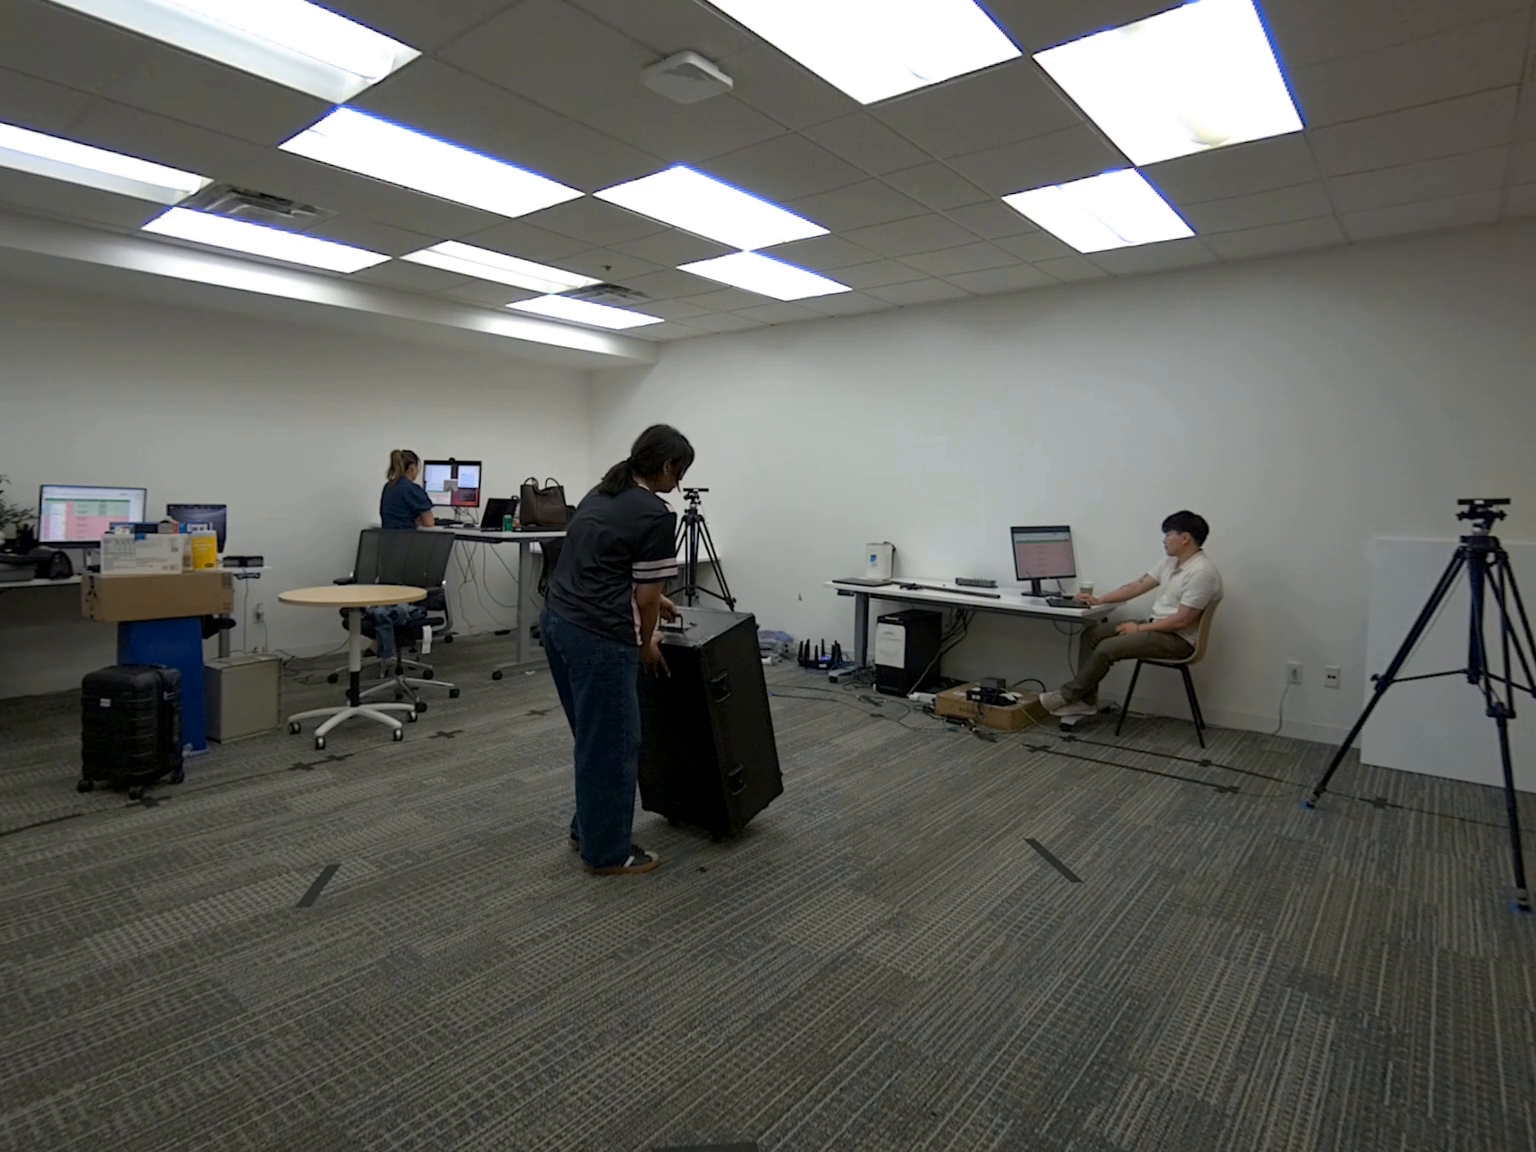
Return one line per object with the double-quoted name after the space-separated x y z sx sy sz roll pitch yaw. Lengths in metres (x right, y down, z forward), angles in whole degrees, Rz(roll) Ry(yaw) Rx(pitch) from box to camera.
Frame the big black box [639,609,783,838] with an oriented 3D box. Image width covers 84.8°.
-0.294 0.593 3.450 0.540 0.855 0.379 2 18 38 "big black box"
